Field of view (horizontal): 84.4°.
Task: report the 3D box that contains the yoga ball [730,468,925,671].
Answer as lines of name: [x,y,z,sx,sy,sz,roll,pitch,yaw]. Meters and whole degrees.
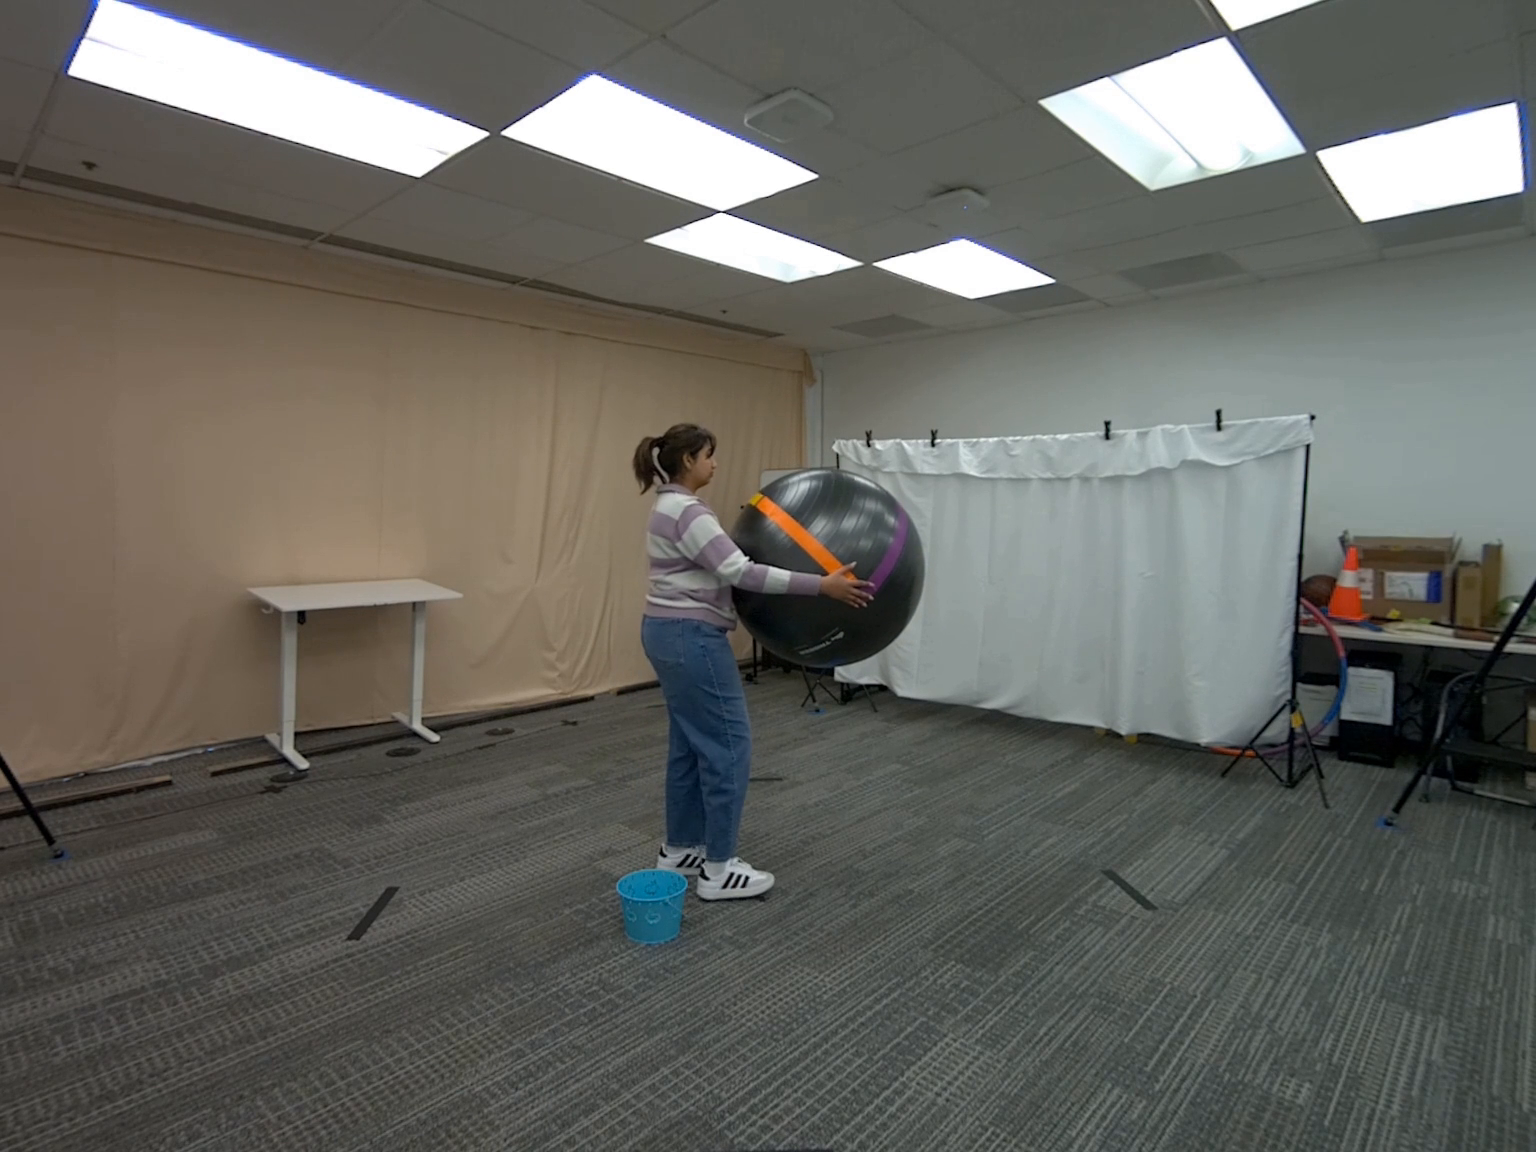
yoga ball: [0.215,-0.026,3.228,0.757,0.756,0.761,0,4,-2]
